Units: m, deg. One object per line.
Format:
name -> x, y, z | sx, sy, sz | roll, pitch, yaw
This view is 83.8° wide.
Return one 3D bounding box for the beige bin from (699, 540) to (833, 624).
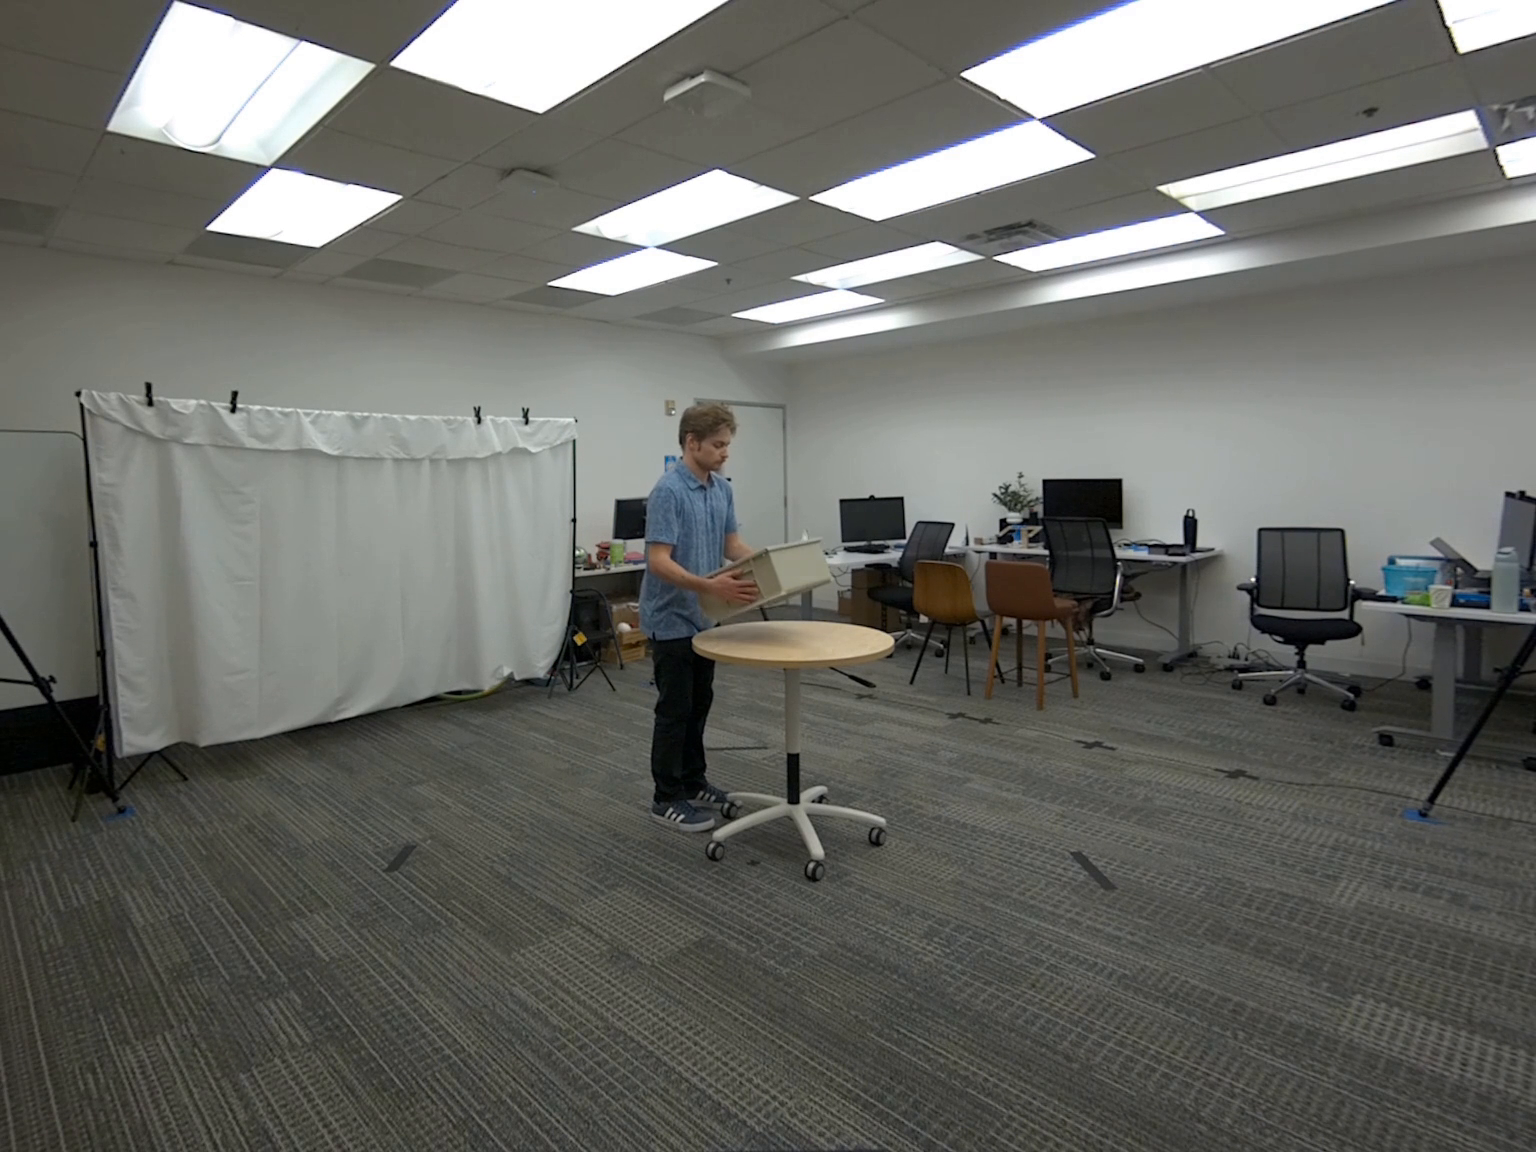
beige bin -> -0.012, 0.019, 3.297 | 0.383, 0.190, 0.413 | -22, -5, 33
